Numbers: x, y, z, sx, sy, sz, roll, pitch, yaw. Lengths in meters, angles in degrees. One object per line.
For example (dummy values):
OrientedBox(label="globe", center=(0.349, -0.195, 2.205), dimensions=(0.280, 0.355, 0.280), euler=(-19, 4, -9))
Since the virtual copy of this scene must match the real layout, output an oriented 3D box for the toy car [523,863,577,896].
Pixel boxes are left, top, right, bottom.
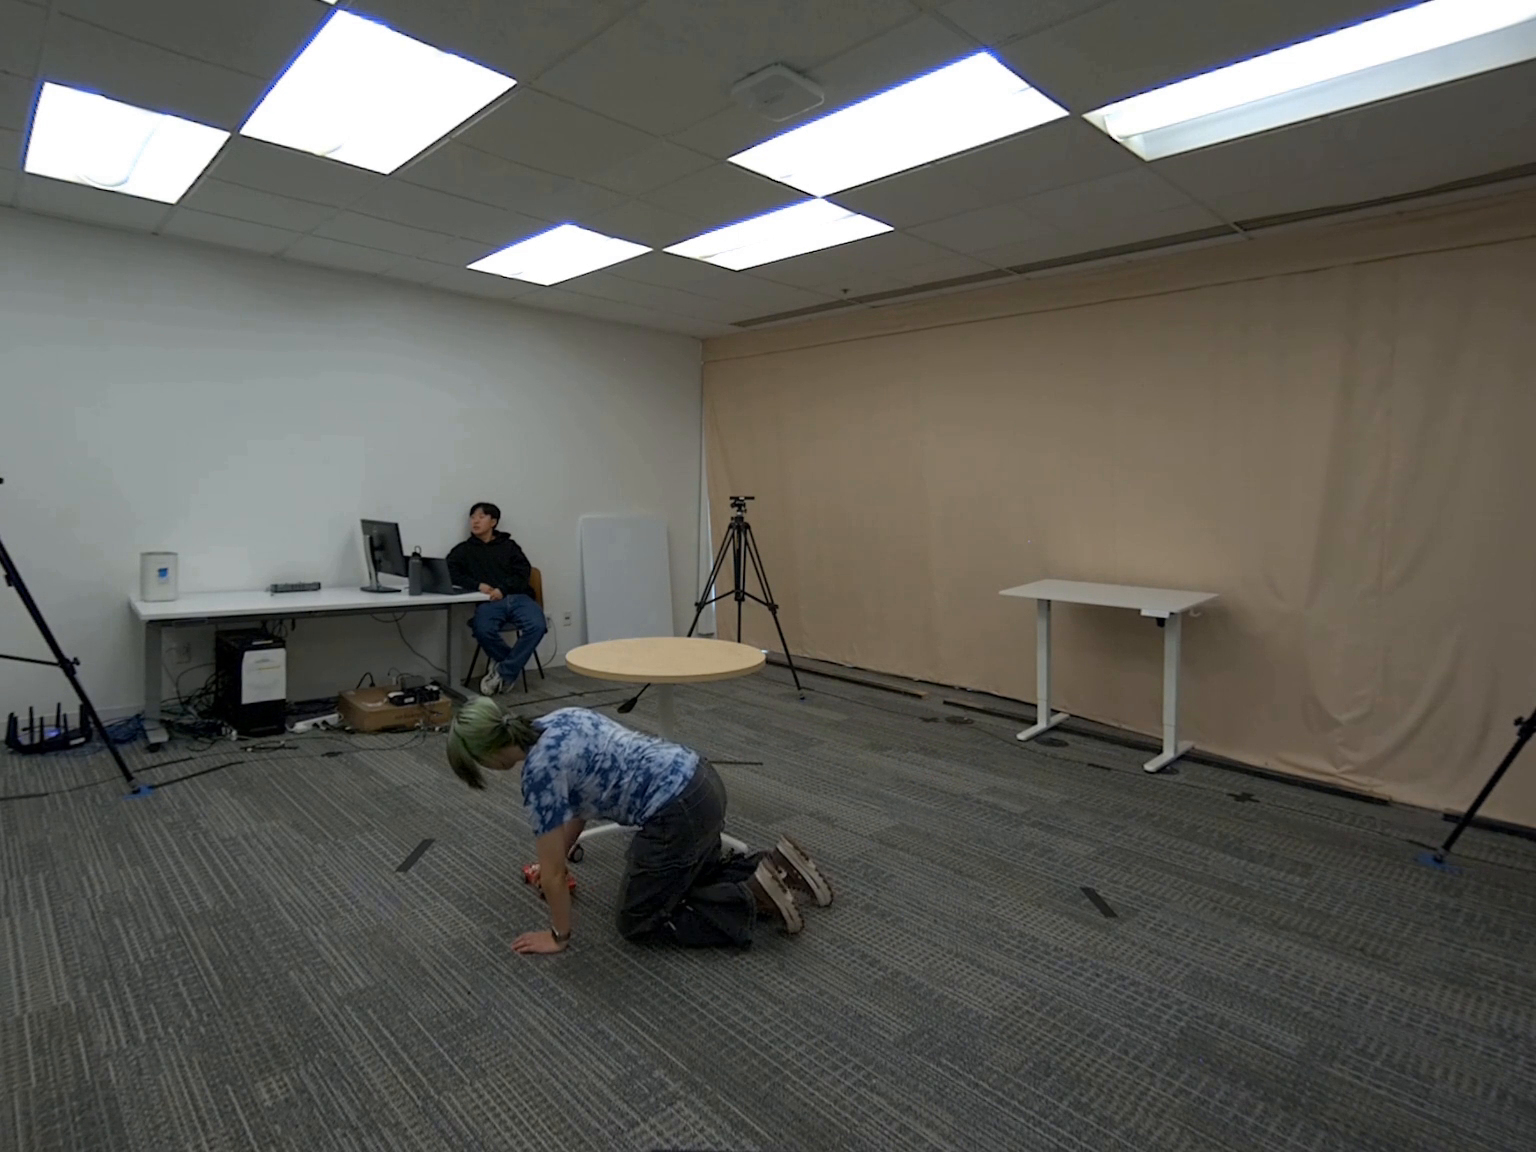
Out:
OrientedBox(label="toy car", center=(-0.783, 1.078, 2.964), dimensions=(0.127, 0.083, 0.259), euler=(-1, -3, -38))
